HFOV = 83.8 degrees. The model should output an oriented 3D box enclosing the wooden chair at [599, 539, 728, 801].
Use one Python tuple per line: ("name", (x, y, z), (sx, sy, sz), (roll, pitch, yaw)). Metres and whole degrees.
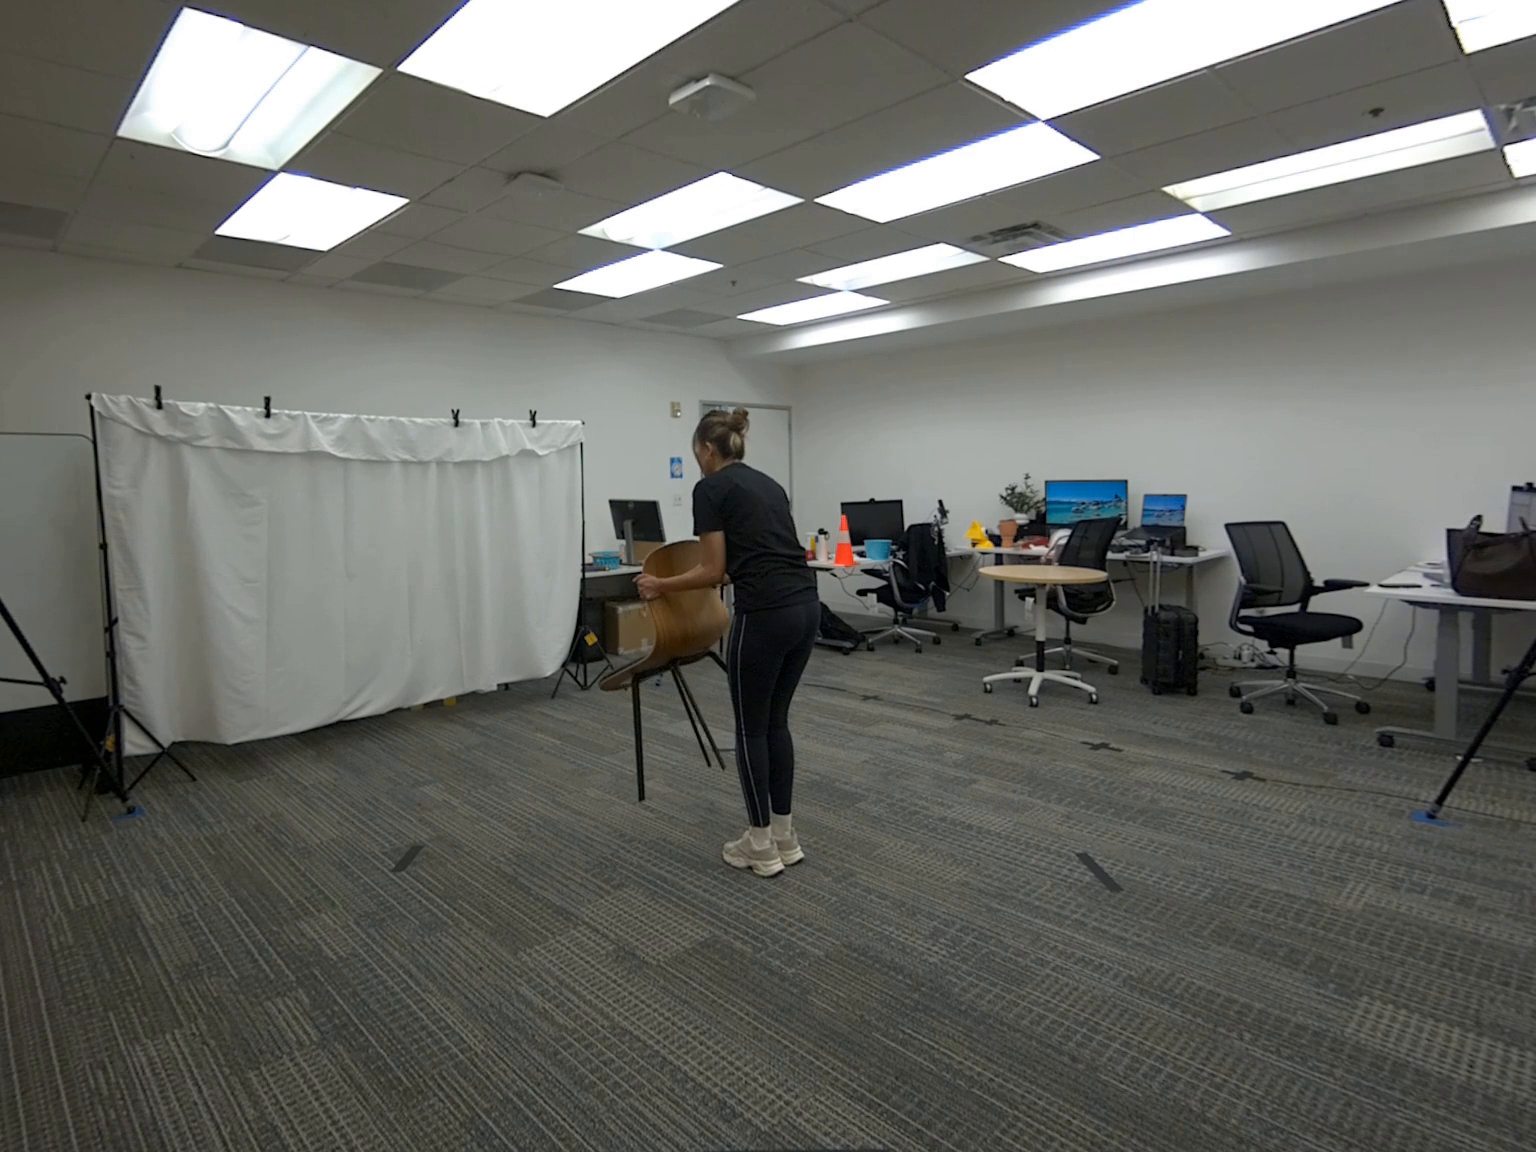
("wooden chair", (-0.379, 0.360, 3.380), (0.530, 0.886, 0.467), (-25, -9, 34))
